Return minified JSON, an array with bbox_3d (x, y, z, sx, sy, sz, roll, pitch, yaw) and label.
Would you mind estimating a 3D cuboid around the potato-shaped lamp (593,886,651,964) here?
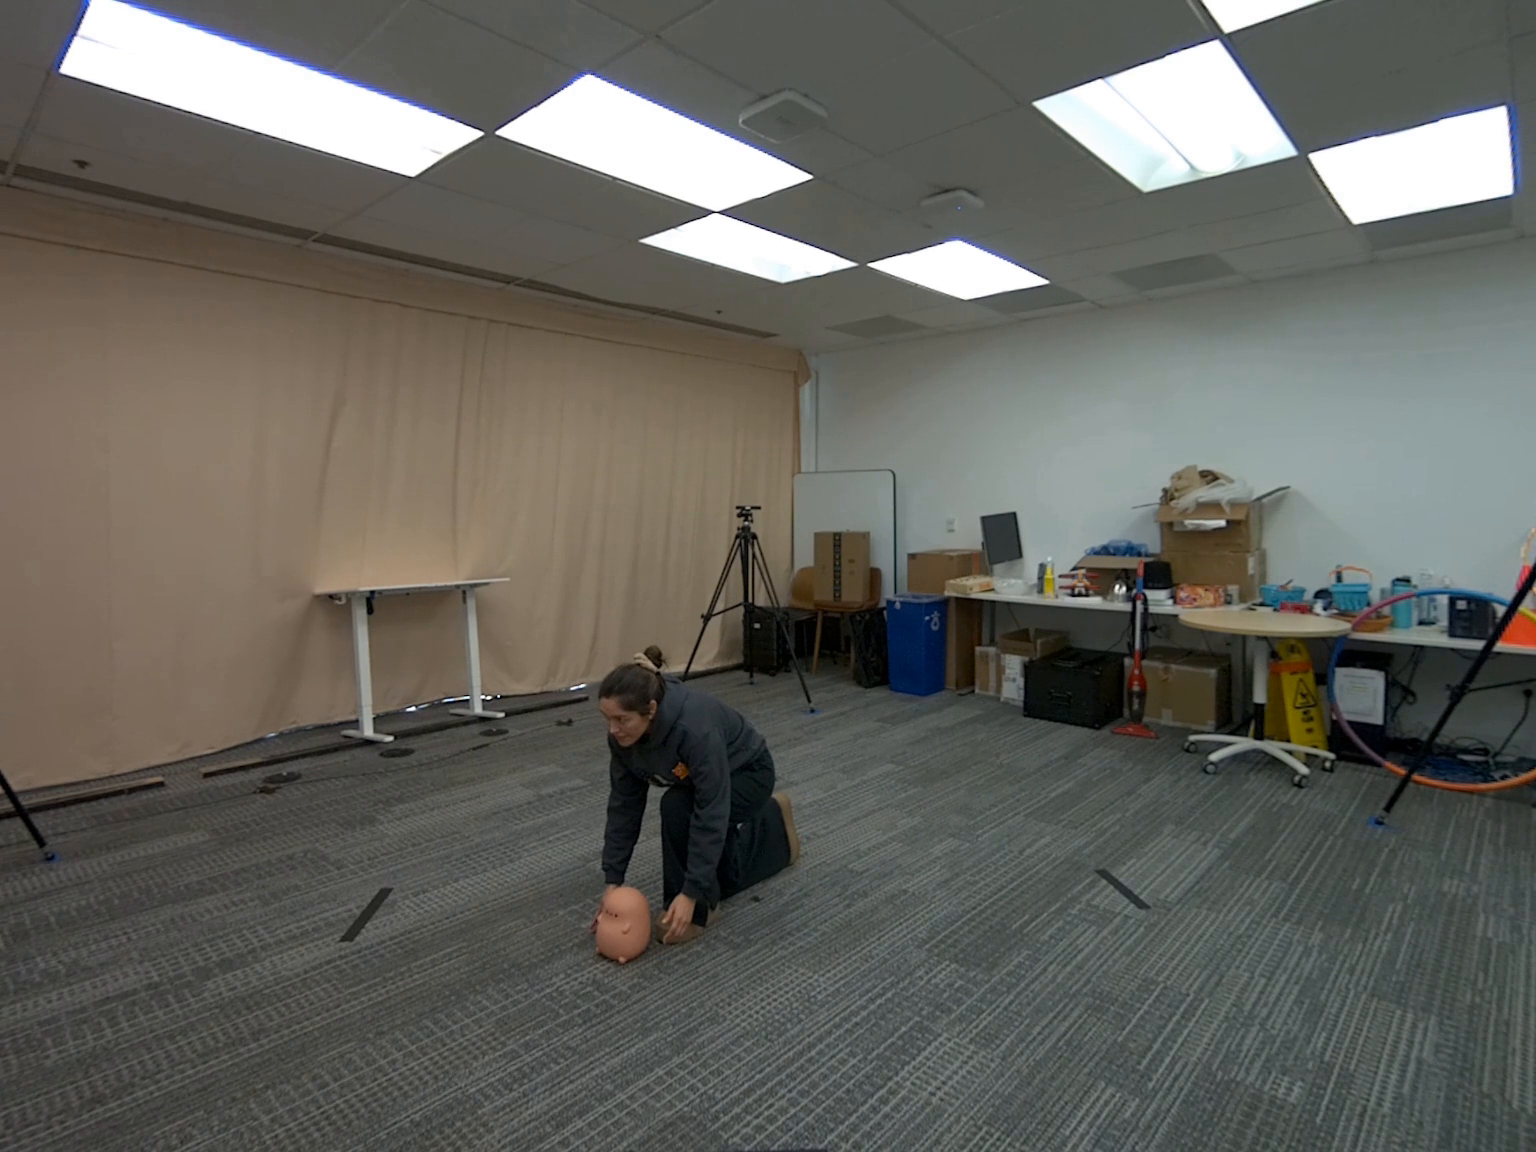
[{"bbox_3d":[-0.426,1.077,2.637,0.170,0.198,0.166,4,0,33],"label":"potato-shaped lamp"}]
